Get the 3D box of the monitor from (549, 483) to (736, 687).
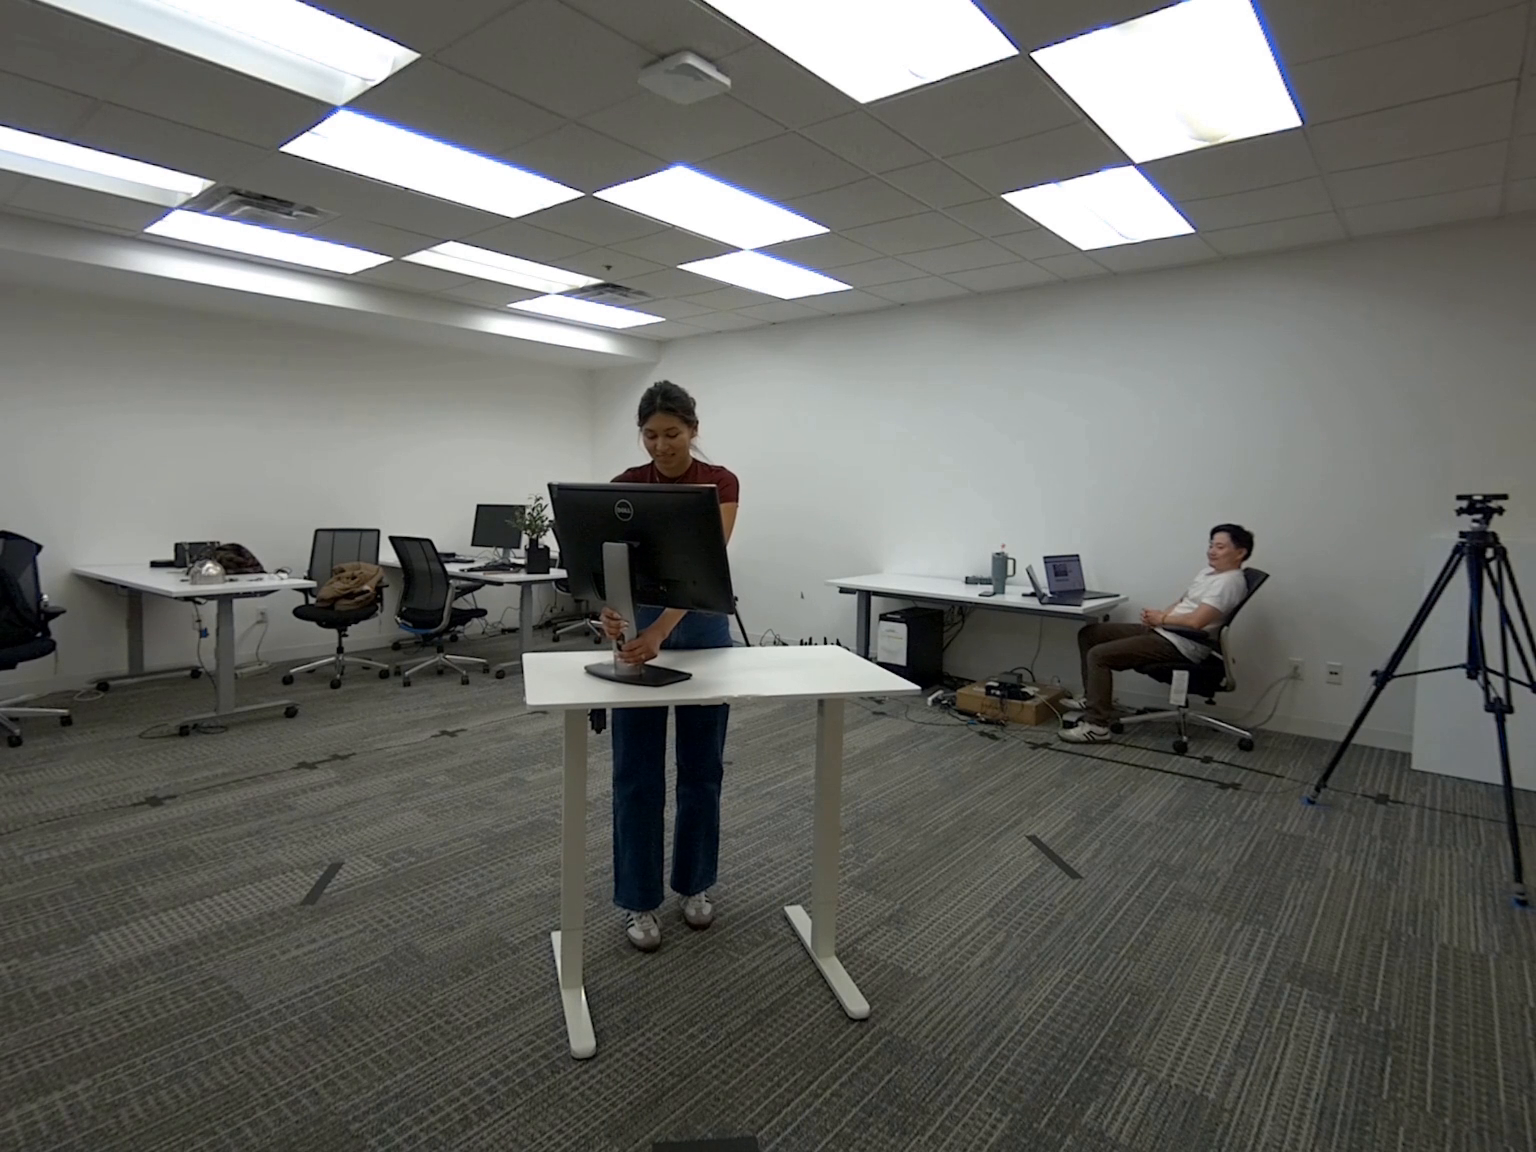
[{"bbox_3d":[-0.378,0.012,2.259,0.554,0.519,0.183,3,7,27],"label":"monitor"}]
